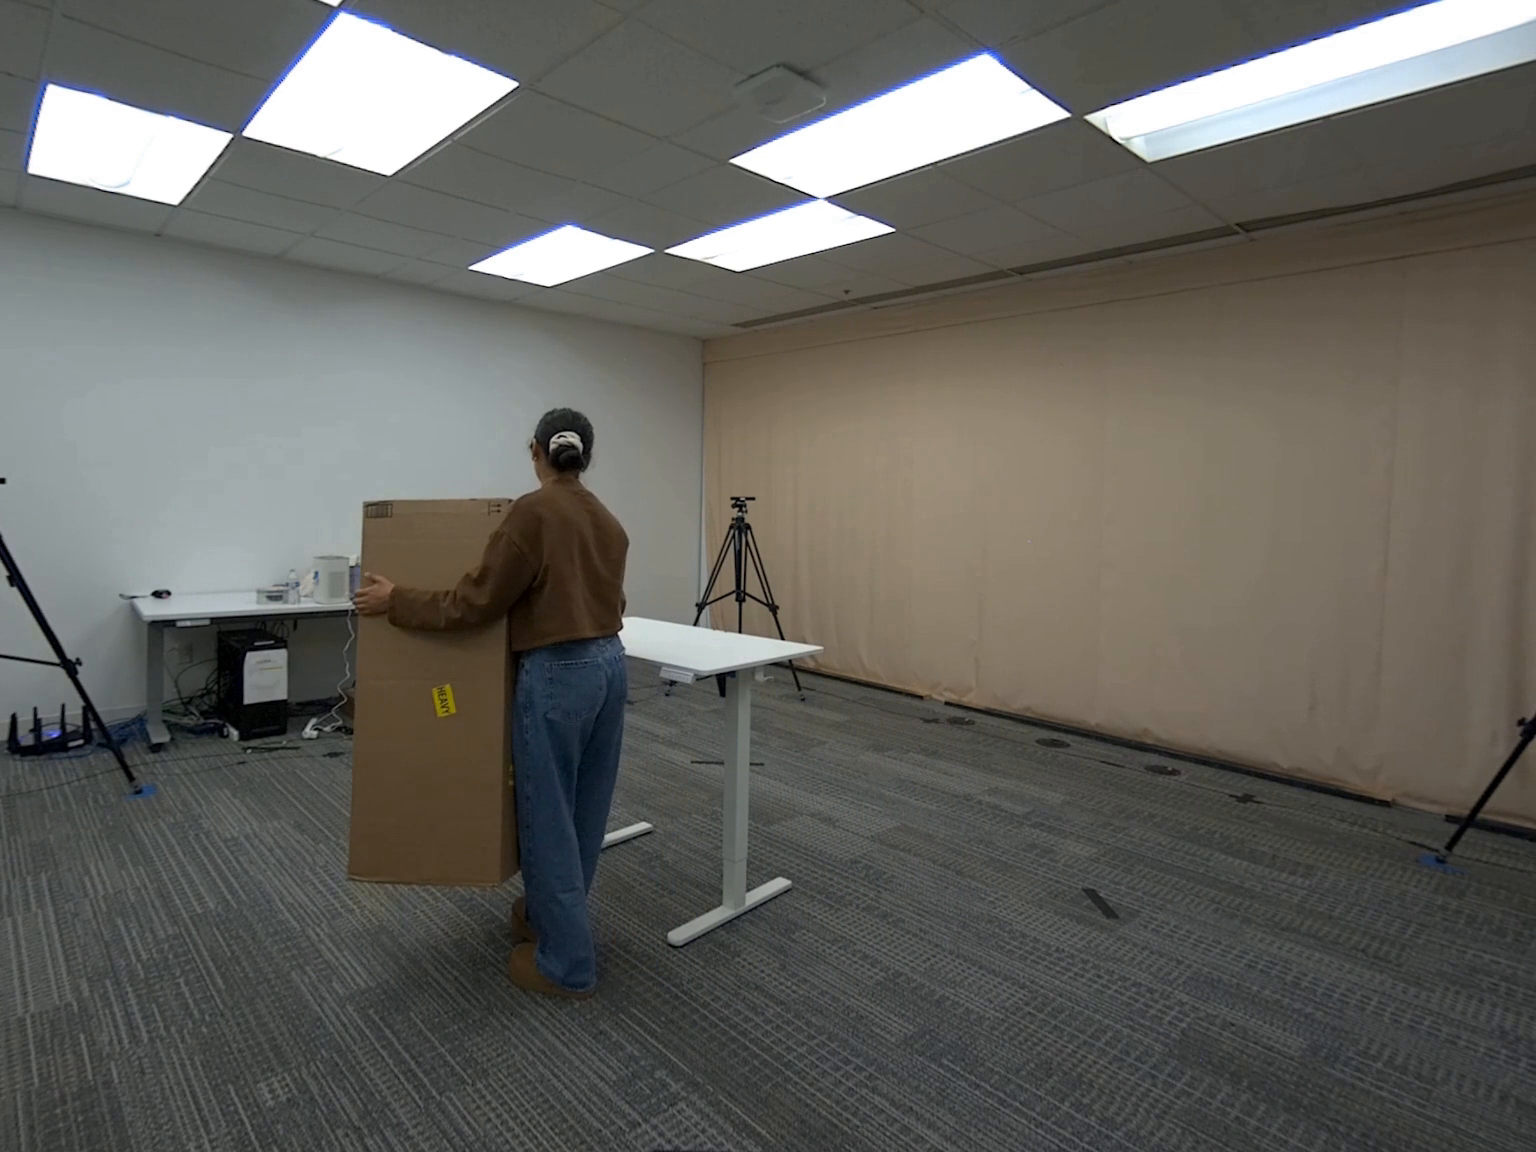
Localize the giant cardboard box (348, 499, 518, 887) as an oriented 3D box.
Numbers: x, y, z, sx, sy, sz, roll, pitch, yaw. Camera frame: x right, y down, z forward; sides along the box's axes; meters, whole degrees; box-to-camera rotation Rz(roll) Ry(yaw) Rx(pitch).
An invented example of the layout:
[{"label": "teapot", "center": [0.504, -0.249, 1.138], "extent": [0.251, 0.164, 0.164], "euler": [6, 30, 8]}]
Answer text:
[{"label": "giant cardboard box", "center": [-0.916, 0.313, 2.538], "extent": [0.428, 1.029, 0.572], "euler": [0, -4, 6]}]
